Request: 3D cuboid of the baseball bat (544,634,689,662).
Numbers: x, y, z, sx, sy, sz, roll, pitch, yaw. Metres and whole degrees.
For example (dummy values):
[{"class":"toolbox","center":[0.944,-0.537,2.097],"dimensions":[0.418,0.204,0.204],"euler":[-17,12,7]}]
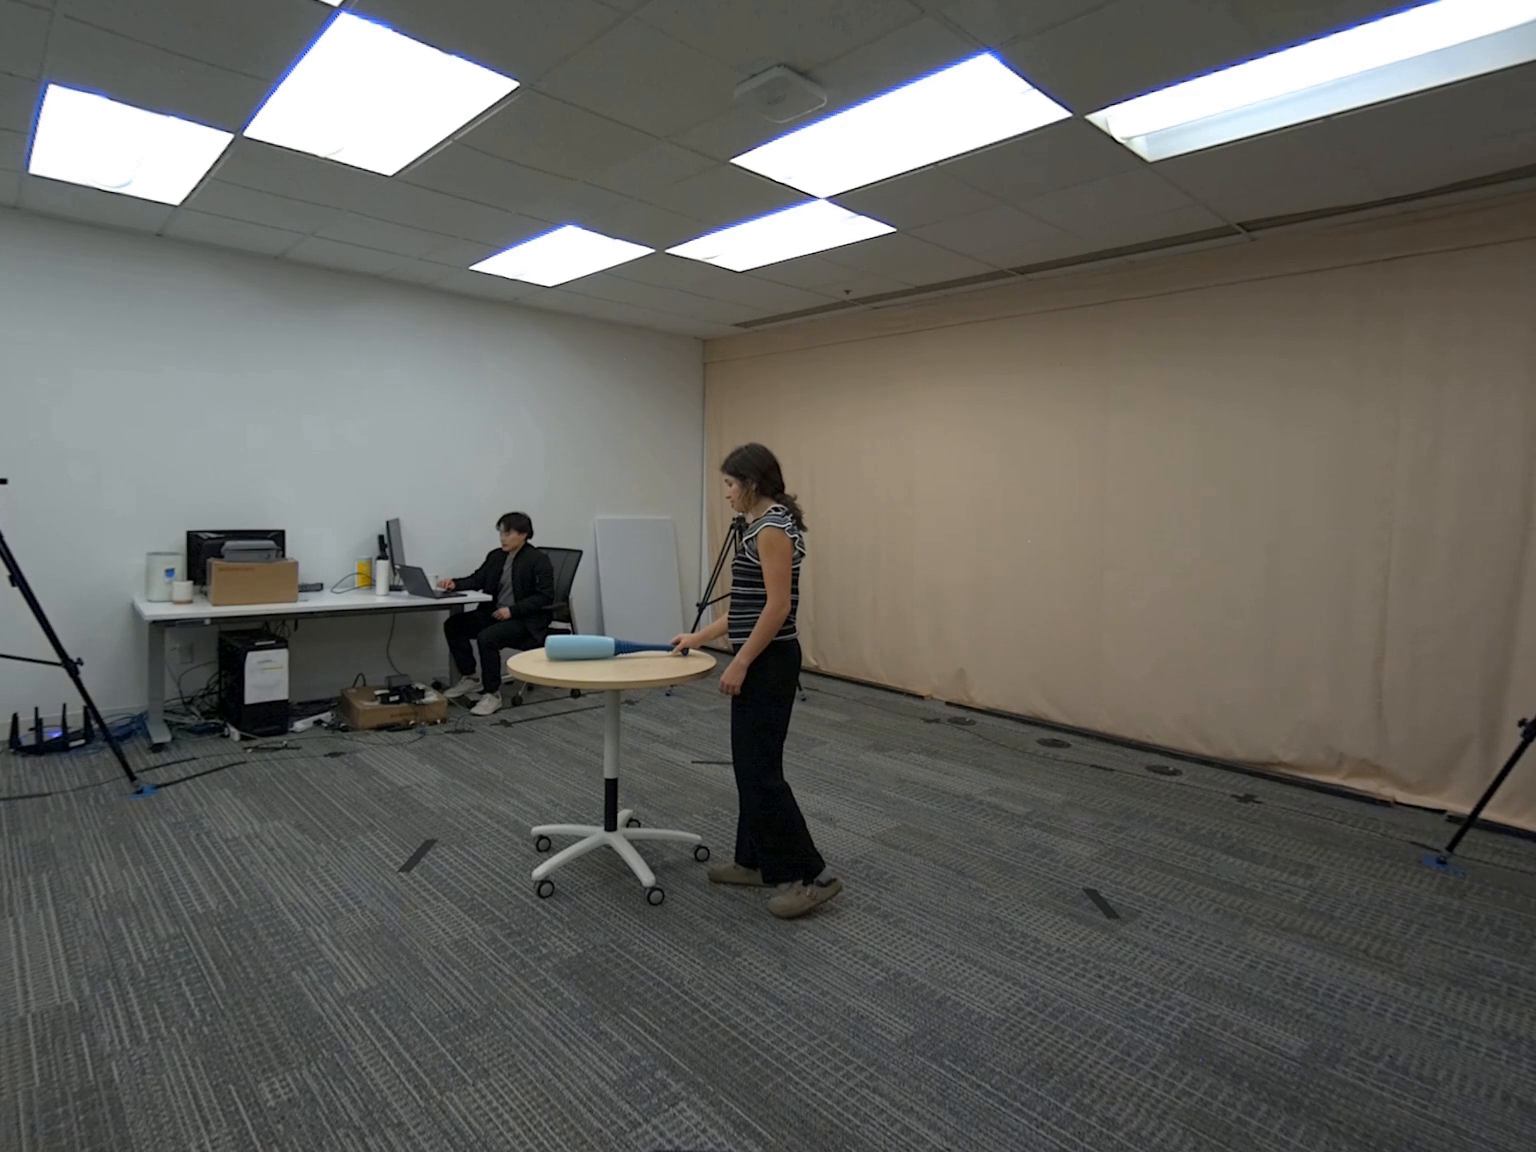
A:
[{"class":"baseball bat","center":[-0.565,0.271,3.154],"dimensions":[0.535,0.089,0.090],"euler":[2,4,-17]}]
